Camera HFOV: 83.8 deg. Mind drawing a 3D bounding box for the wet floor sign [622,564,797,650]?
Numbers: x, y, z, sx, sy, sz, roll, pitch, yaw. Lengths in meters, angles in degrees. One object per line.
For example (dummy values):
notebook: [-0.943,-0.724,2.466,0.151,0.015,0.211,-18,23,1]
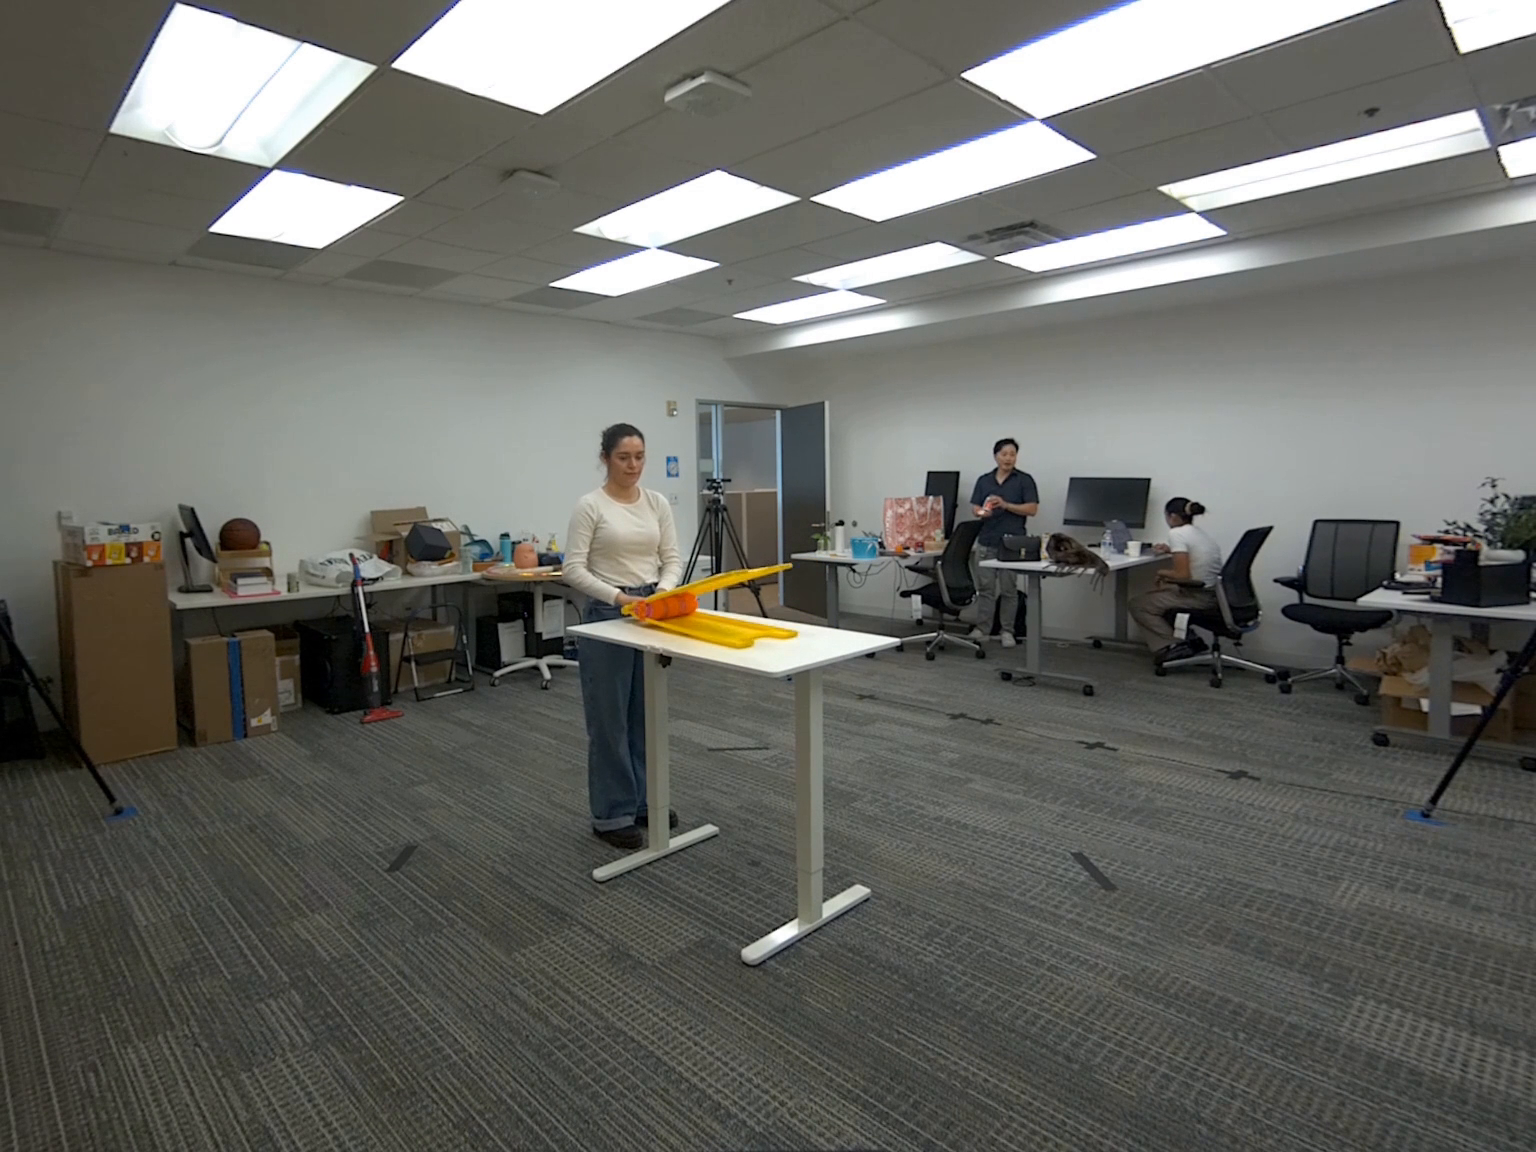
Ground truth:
wet floor sign: [-0.232,0.112,2.938,0.275,0.290,0.663,-6,2,-44]
